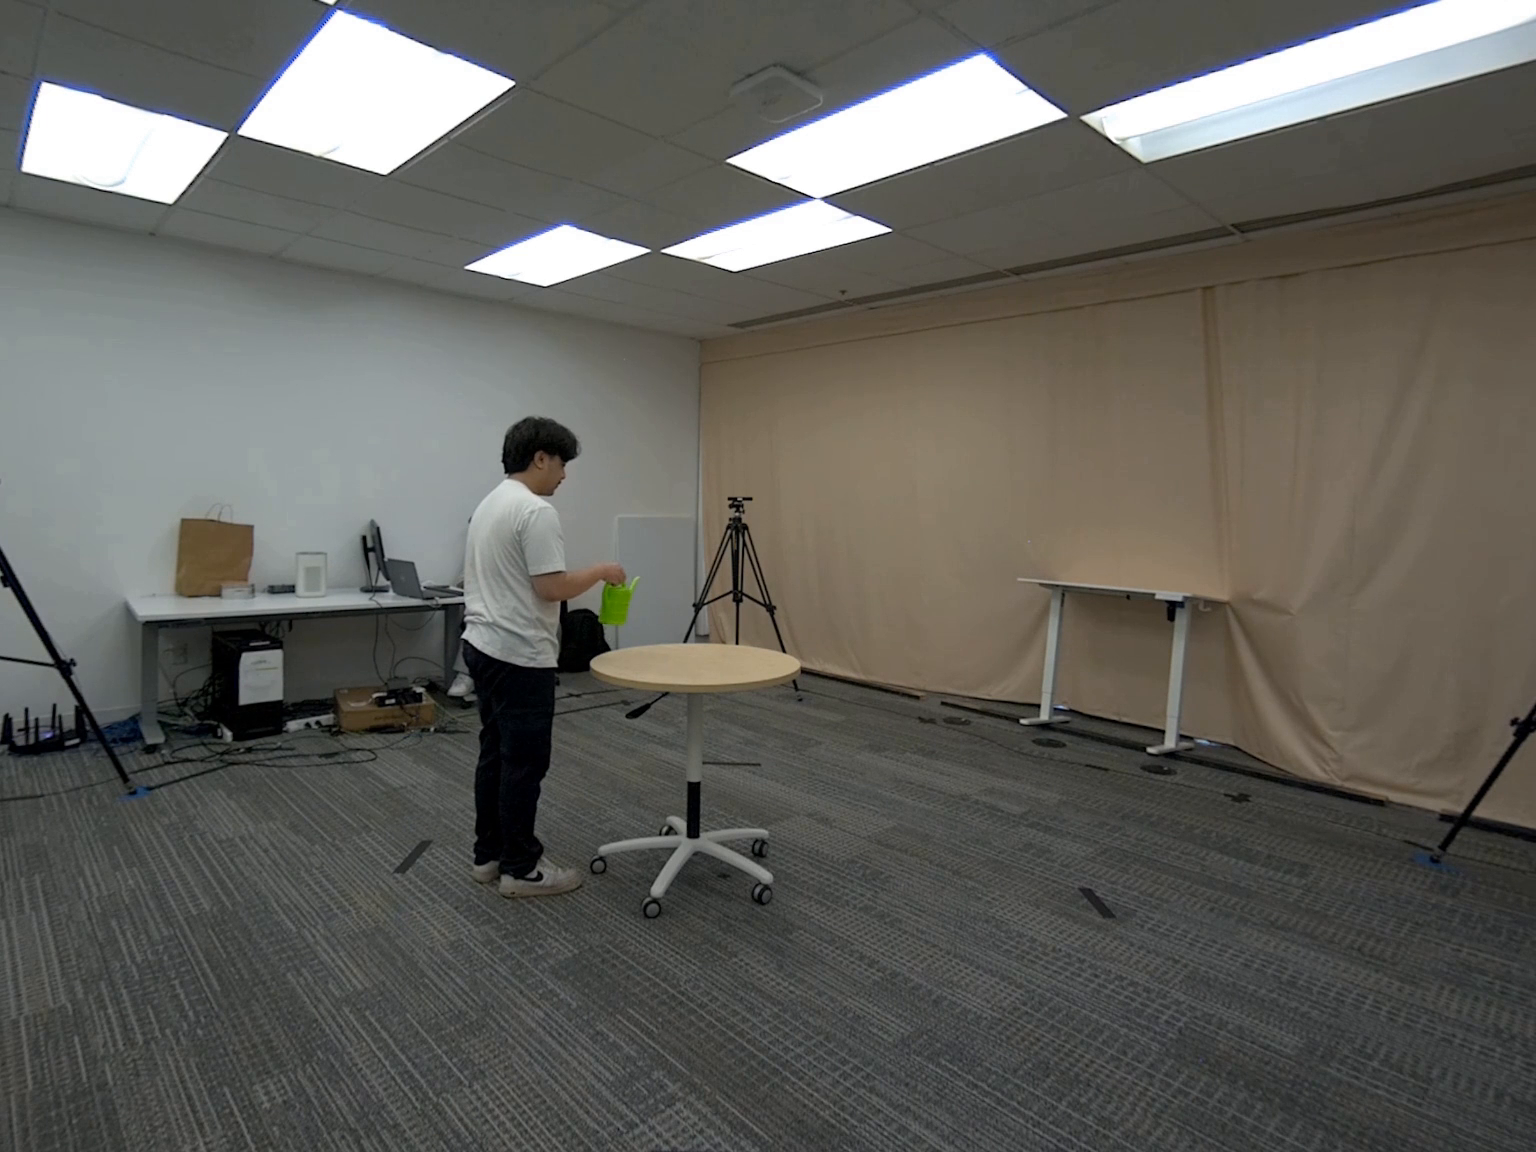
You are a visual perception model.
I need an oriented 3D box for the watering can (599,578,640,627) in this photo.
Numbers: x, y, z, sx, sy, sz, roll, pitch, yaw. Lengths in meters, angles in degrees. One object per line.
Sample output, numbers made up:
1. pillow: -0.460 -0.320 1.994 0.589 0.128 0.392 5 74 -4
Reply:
1. watering can: -0.570 0.099 3.198 0.100 0.176 0.272 9 4 28
